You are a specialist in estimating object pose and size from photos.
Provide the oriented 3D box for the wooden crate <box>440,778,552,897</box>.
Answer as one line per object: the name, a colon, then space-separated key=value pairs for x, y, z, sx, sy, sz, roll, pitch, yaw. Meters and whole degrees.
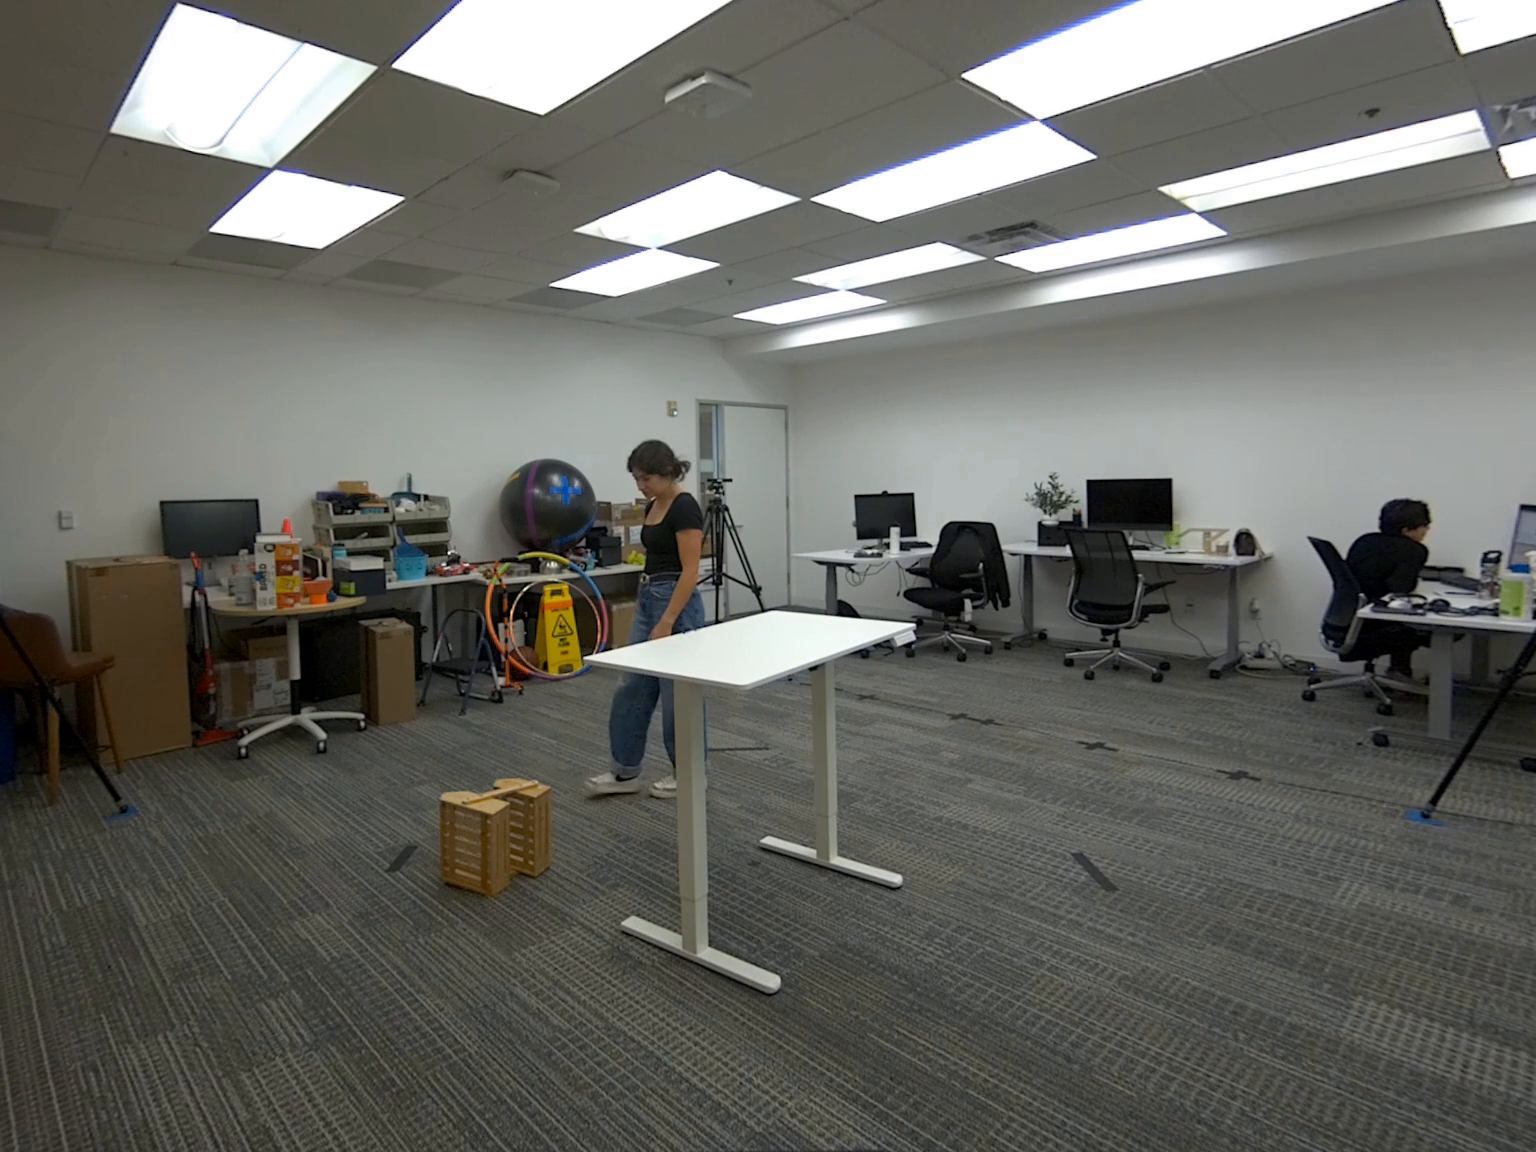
wooden crate: x=-0.967 y=0.907 z=3.026 sx=0.309 sy=0.322 sz=0.269 roll=7 pitch=11 yaw=23
